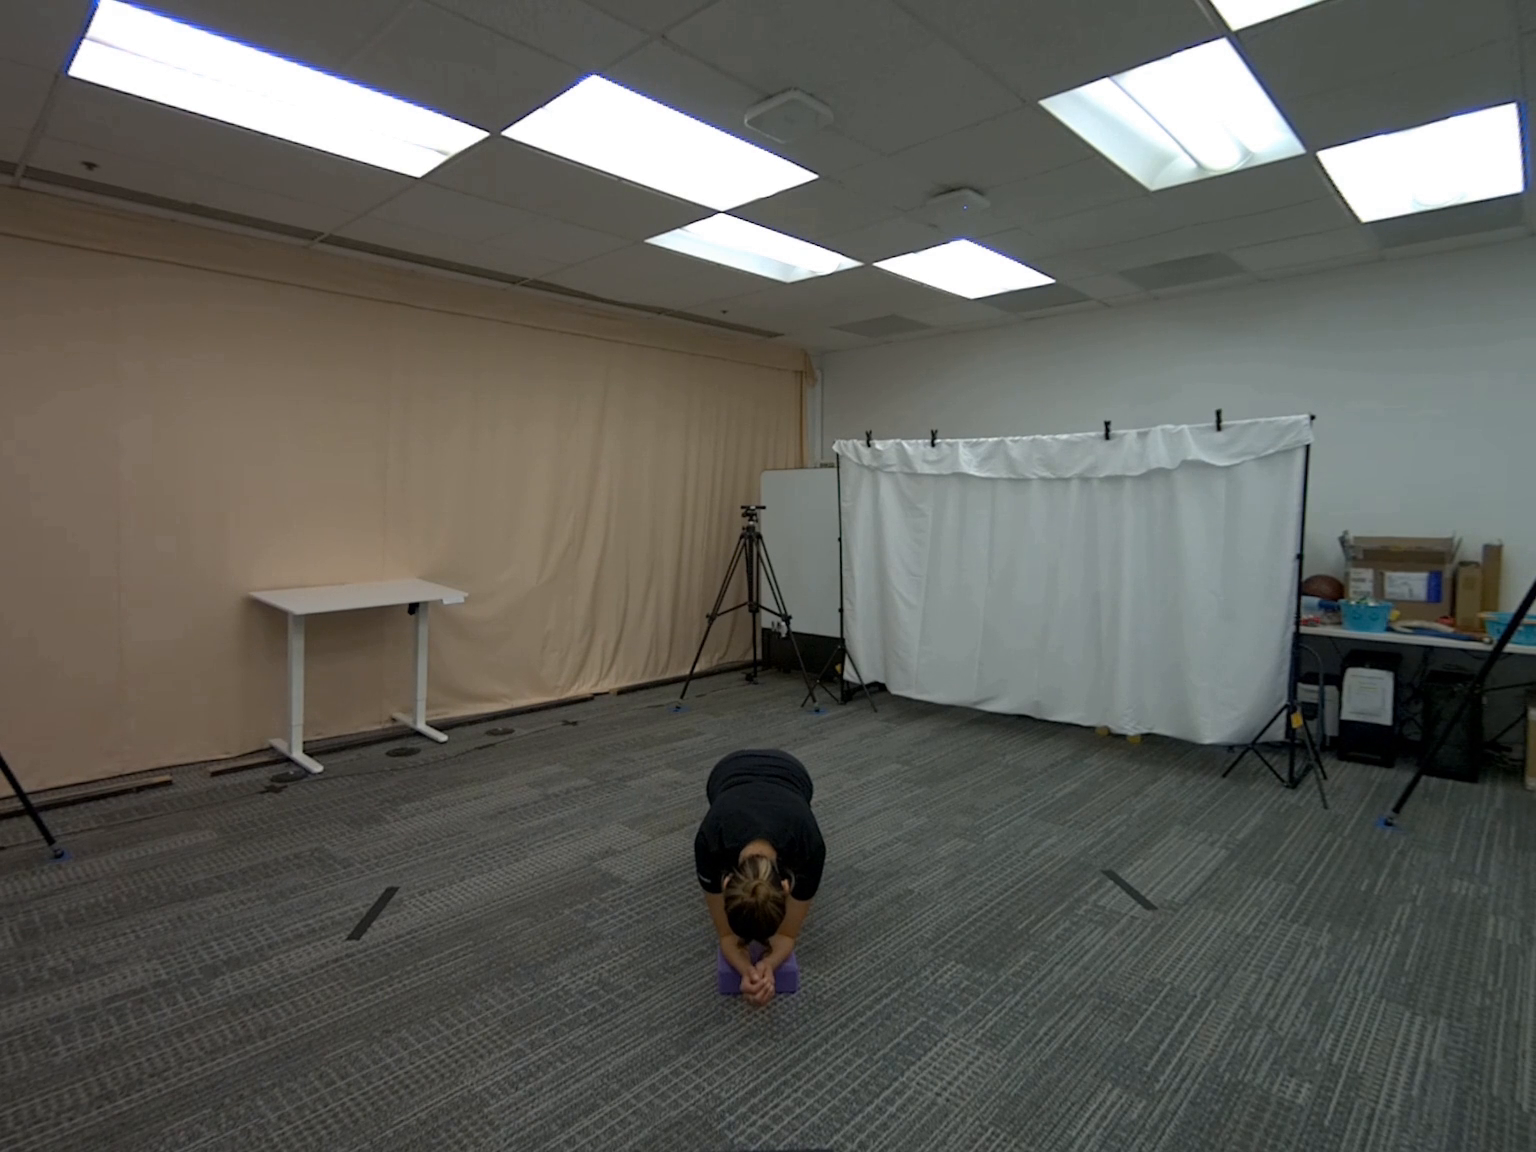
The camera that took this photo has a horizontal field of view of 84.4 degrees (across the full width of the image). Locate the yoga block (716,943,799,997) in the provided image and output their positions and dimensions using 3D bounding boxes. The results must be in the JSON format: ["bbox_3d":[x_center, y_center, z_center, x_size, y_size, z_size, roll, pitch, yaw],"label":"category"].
[{"bbox_3d":[-0.030,1.143,2.471,0.229,0.076,0.149,0,5,0],"label":"yoga block"}]
